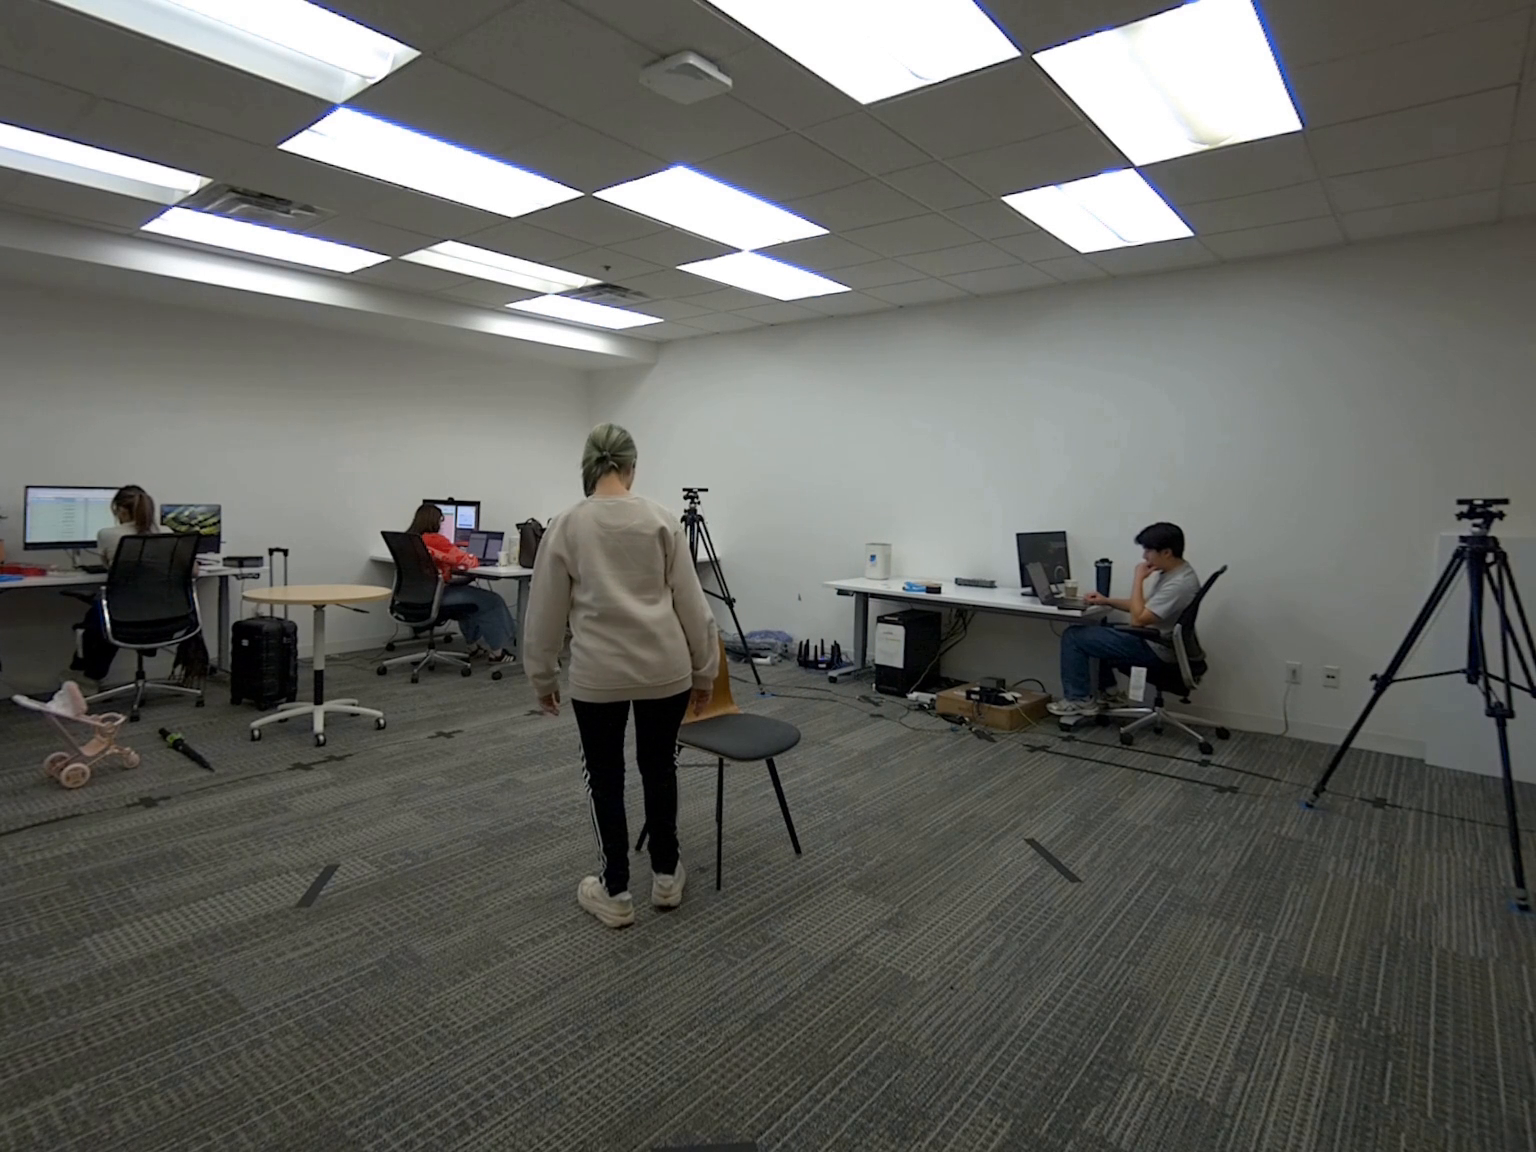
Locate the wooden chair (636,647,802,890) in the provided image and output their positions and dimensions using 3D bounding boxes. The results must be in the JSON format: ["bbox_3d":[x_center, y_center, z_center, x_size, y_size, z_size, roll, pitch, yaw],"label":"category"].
[{"bbox_3d":[-0.179,0.631,3.231,0.539,0.878,0.463,-2,0,43],"label":"wooden chair"}]
